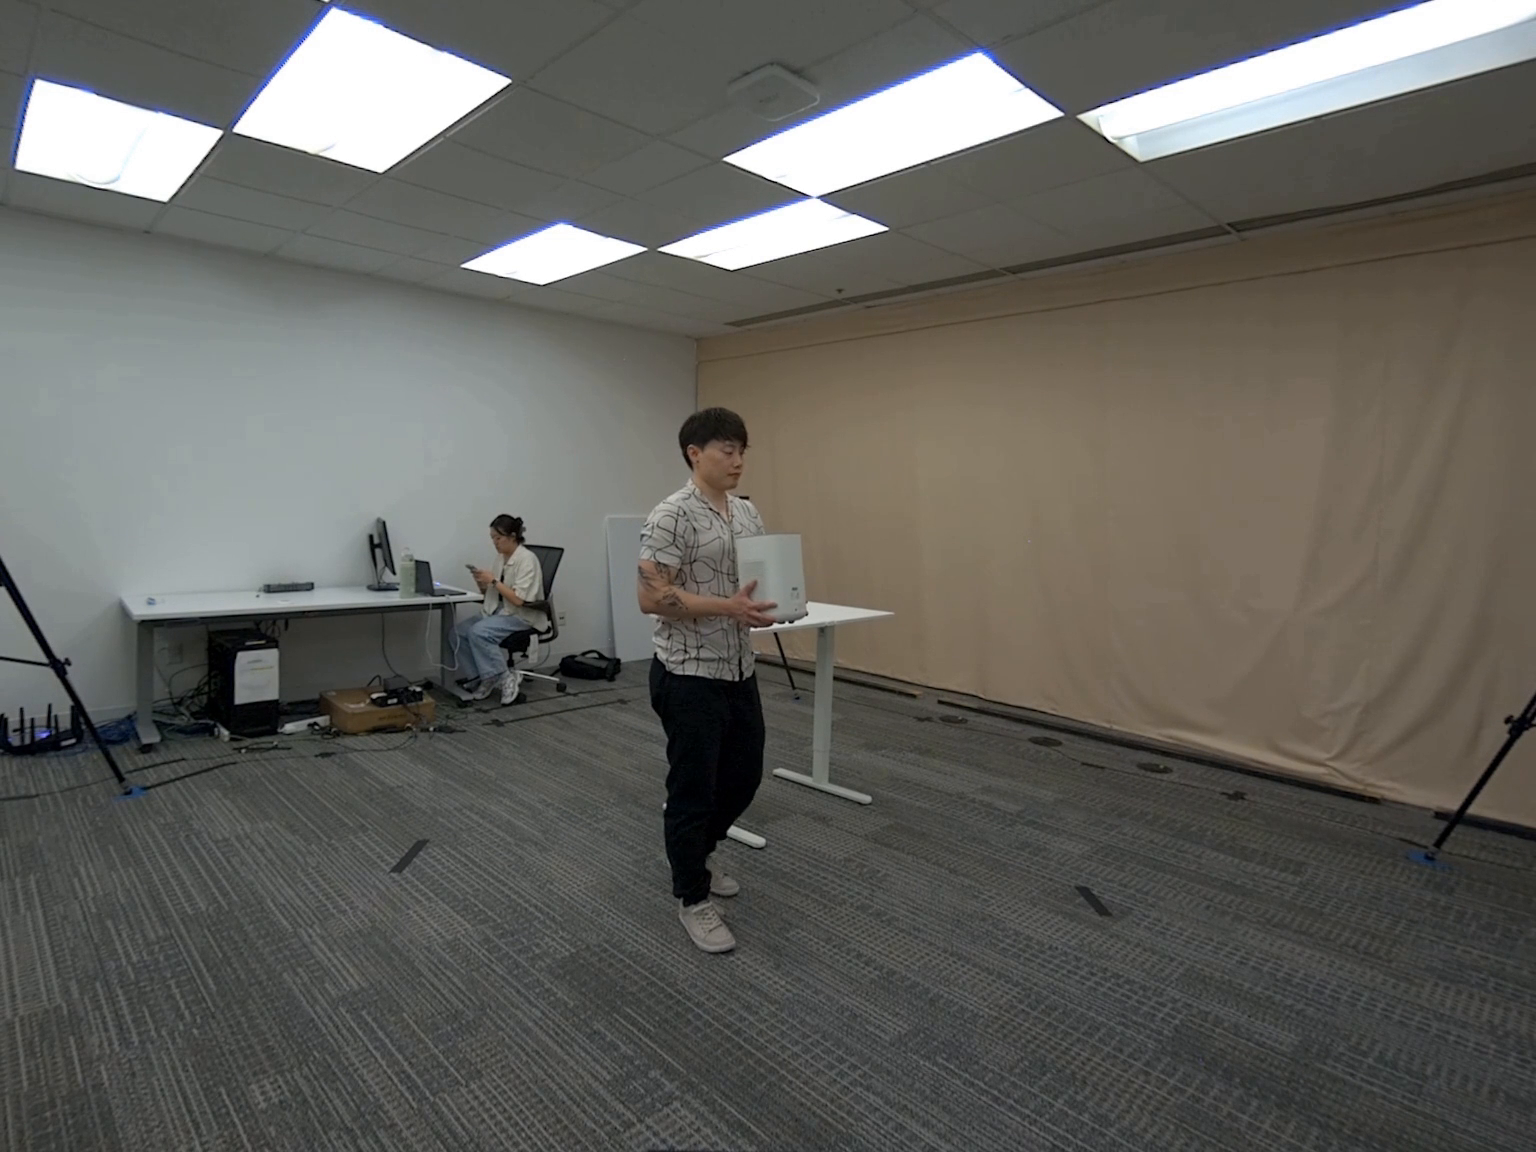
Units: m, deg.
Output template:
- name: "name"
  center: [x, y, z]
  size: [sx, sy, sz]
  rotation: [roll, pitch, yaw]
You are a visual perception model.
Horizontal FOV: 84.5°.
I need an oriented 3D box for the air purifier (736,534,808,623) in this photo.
- name: "air purifier"
  center: [-0.005, 0.006, 2.563]
  size: [0.175, 0.266, 0.167]
  rotation: [-5, -3, 39]
